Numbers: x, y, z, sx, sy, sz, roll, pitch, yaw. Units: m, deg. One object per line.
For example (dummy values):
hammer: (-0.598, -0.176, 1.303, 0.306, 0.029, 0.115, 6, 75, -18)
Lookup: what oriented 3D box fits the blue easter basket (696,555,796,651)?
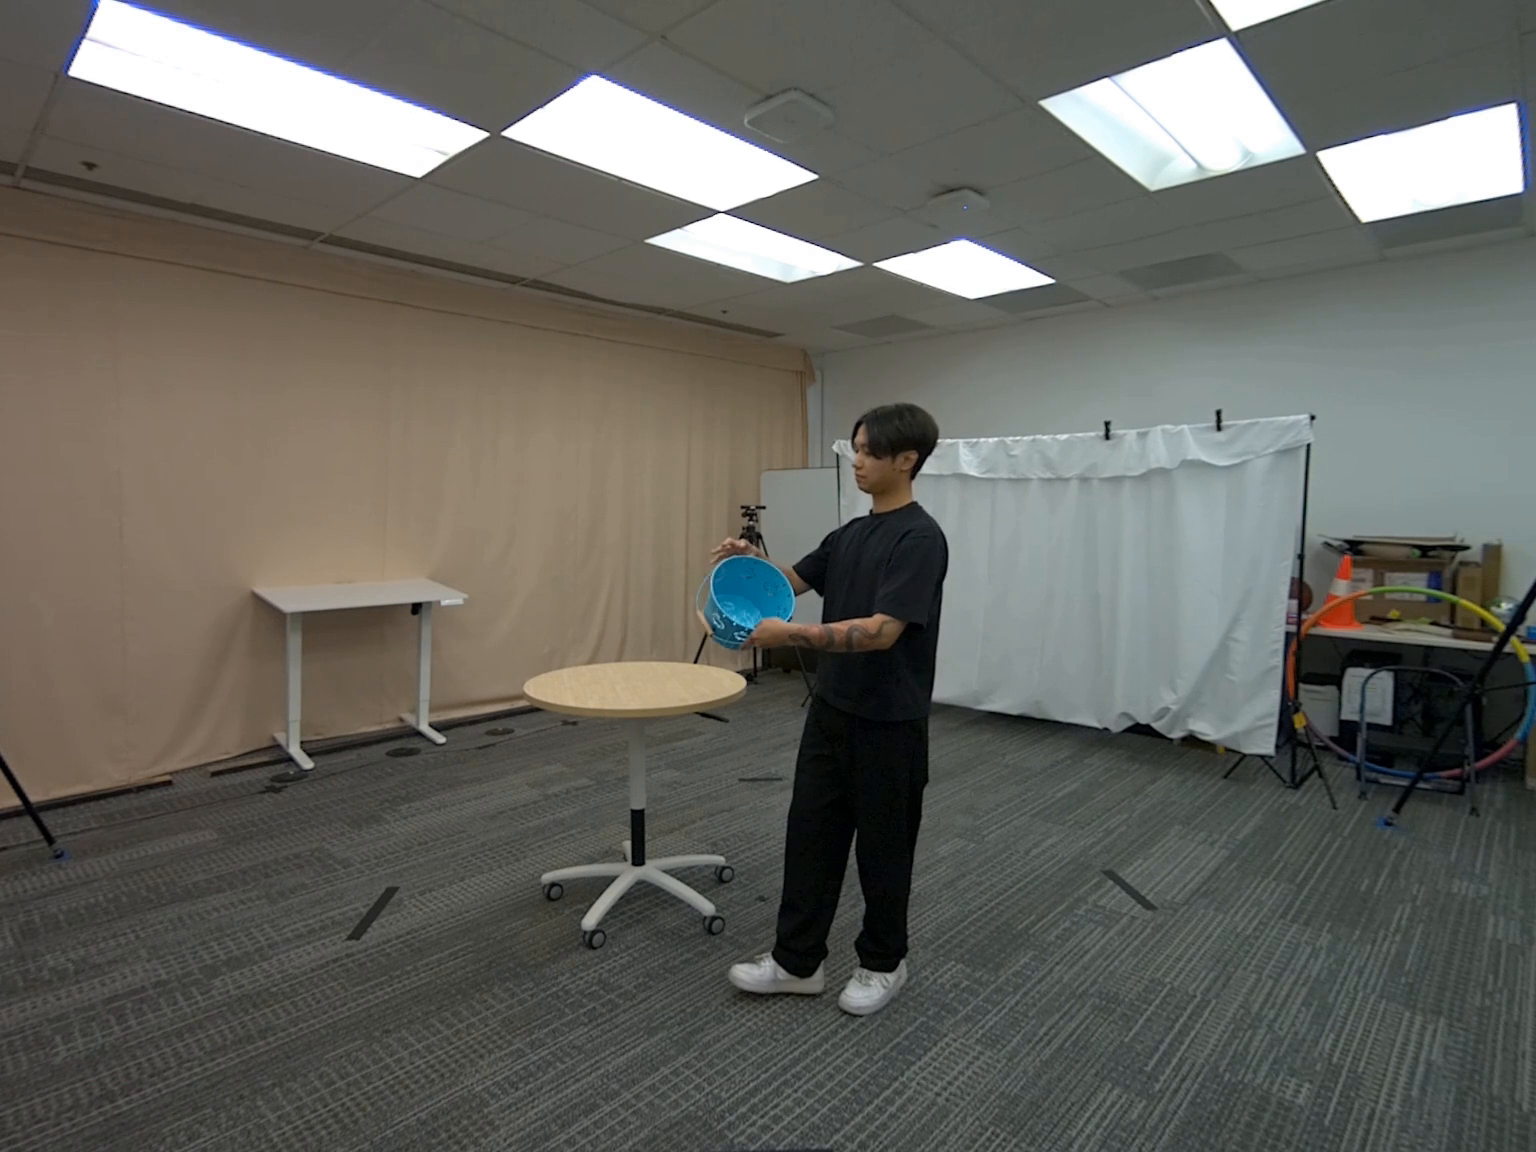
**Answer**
blue easter basket: (-0.066, 0.086, 2.239, 0.238, 0.249, 0.156, -2, -33, -24)
